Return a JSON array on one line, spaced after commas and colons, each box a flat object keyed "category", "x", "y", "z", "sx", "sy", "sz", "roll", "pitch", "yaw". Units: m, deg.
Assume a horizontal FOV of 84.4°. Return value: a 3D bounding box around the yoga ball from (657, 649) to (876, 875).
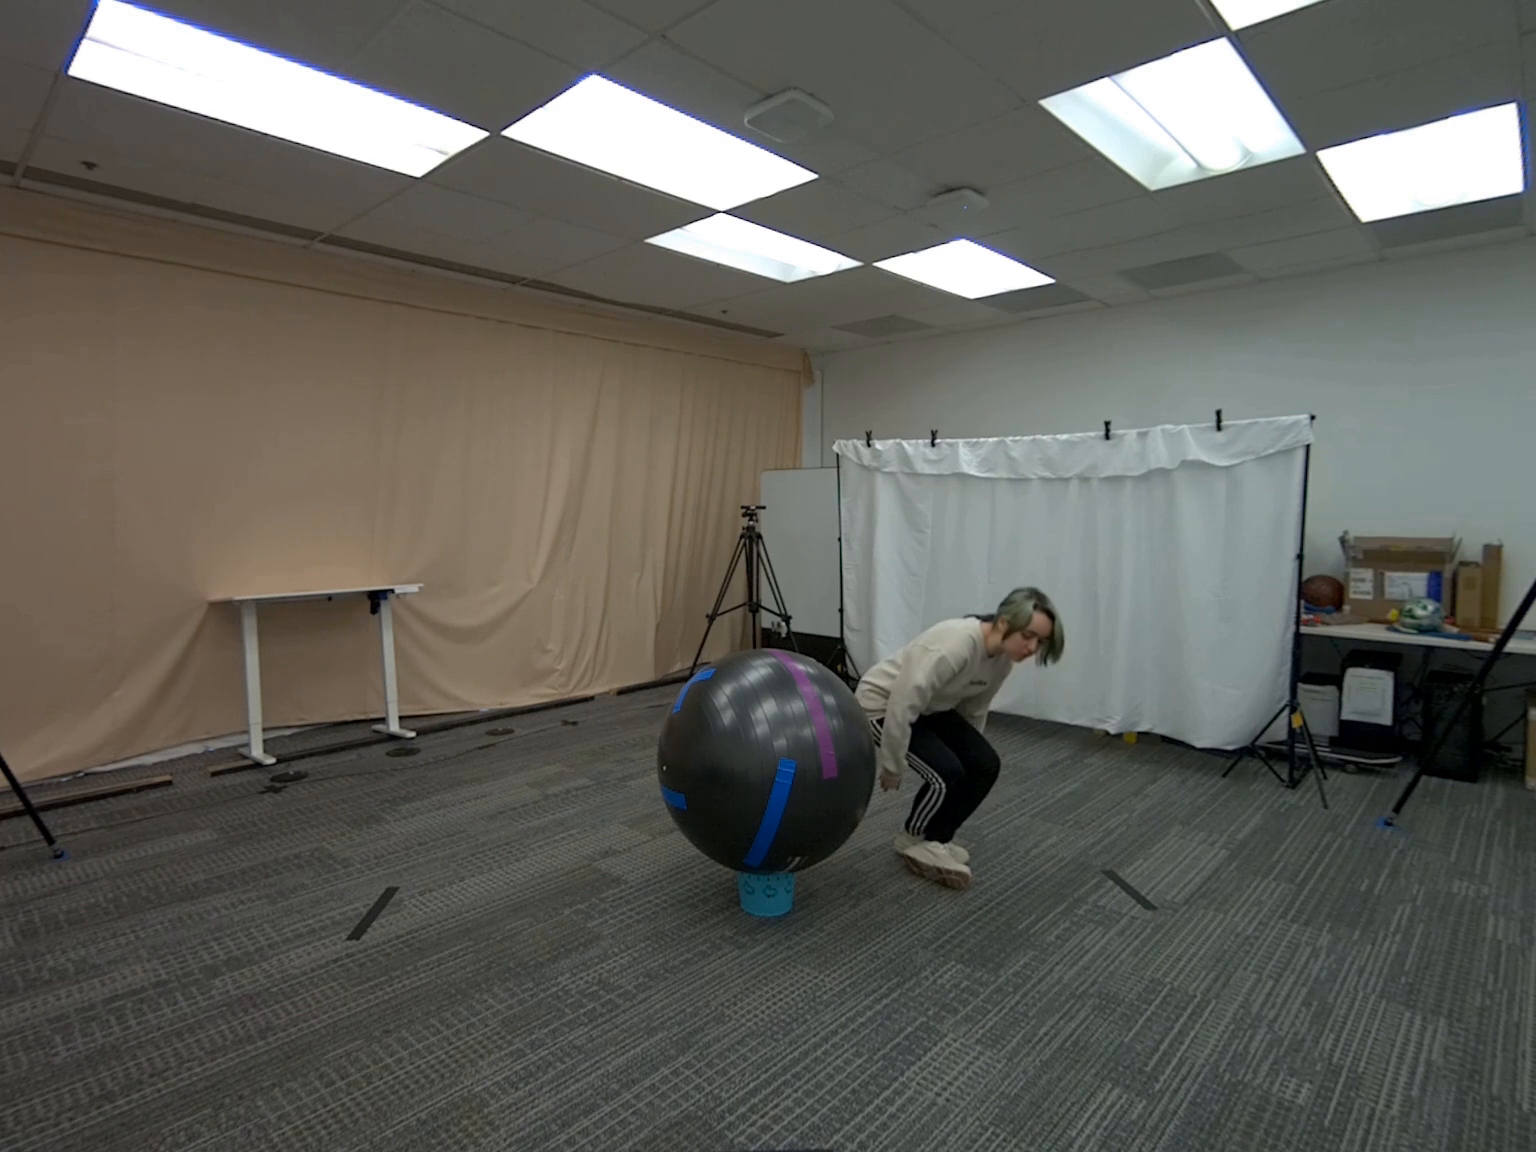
[{"category": "yoga ball", "x": -0.006, "y": 0.635, "z": 2.924, "sx": 0.757, "sy": 0.756, "sz": 0.760, "roll": 0, "pitch": 4, "yaw": -2}]
